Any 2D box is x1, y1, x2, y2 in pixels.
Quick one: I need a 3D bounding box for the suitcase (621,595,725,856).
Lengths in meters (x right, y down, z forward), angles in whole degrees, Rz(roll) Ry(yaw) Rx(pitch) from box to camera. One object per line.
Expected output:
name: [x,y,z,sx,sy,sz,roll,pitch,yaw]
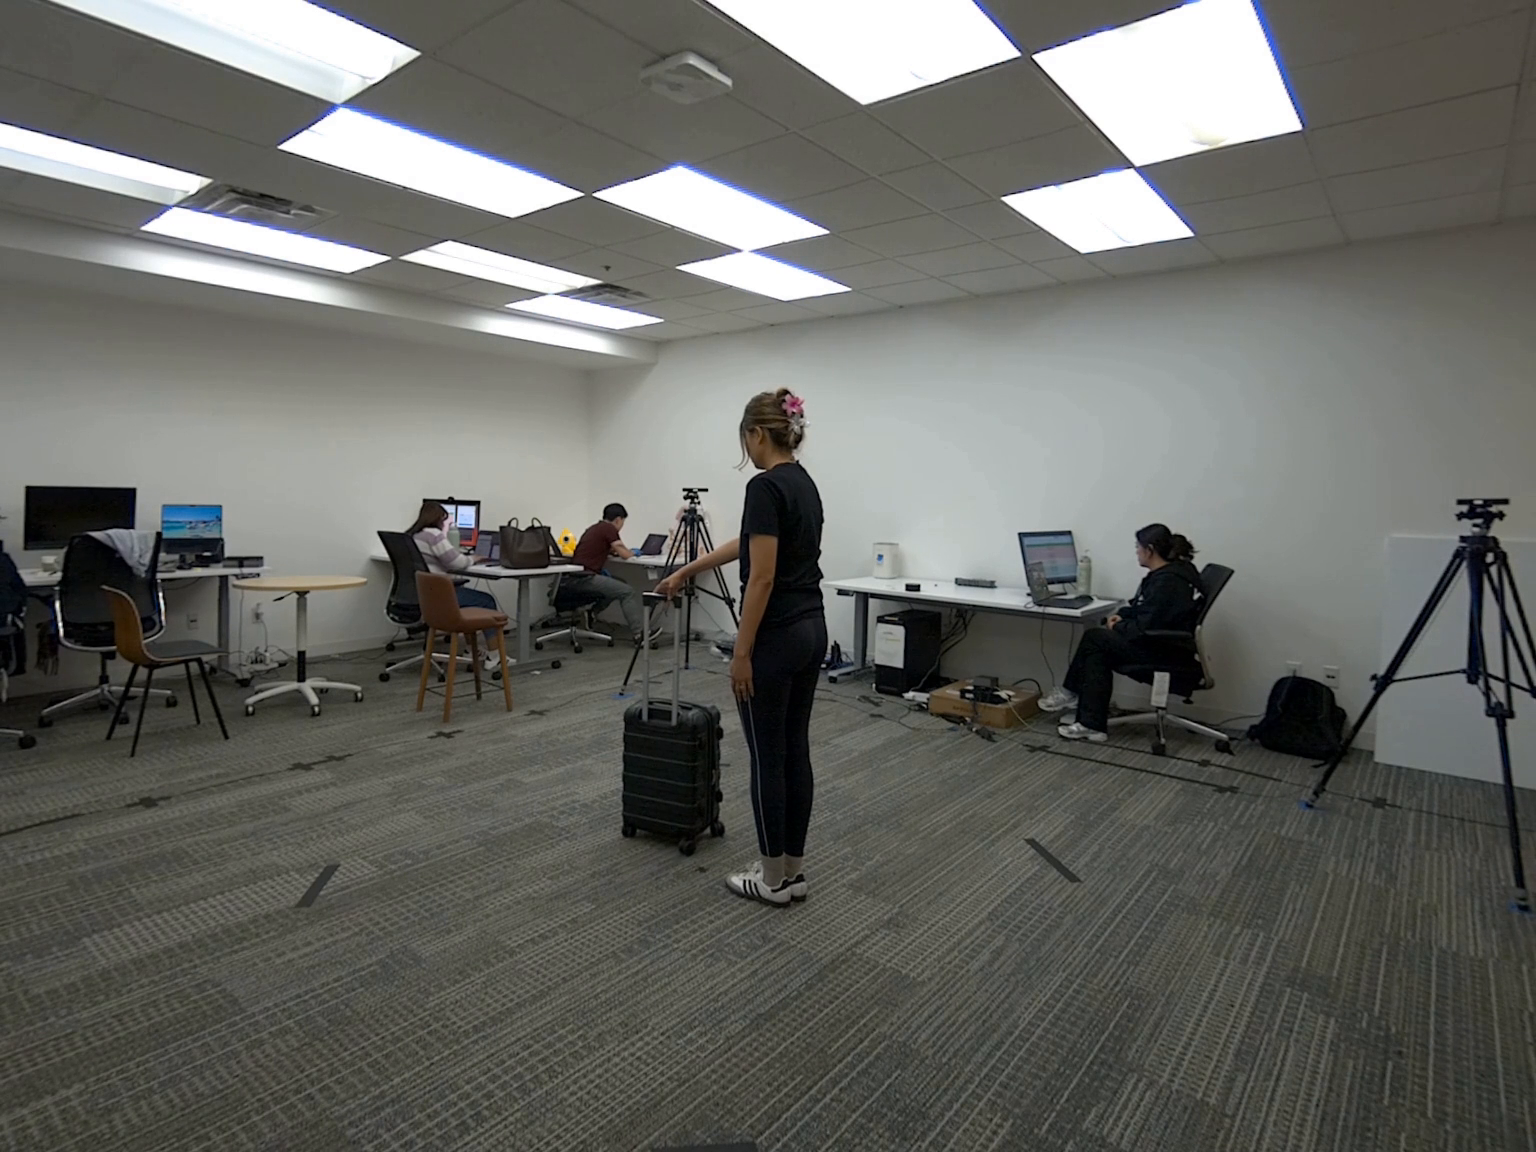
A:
suitcase: [-0.391,0.564,3.395,0.394,0.977,0.251,2,2,26]
